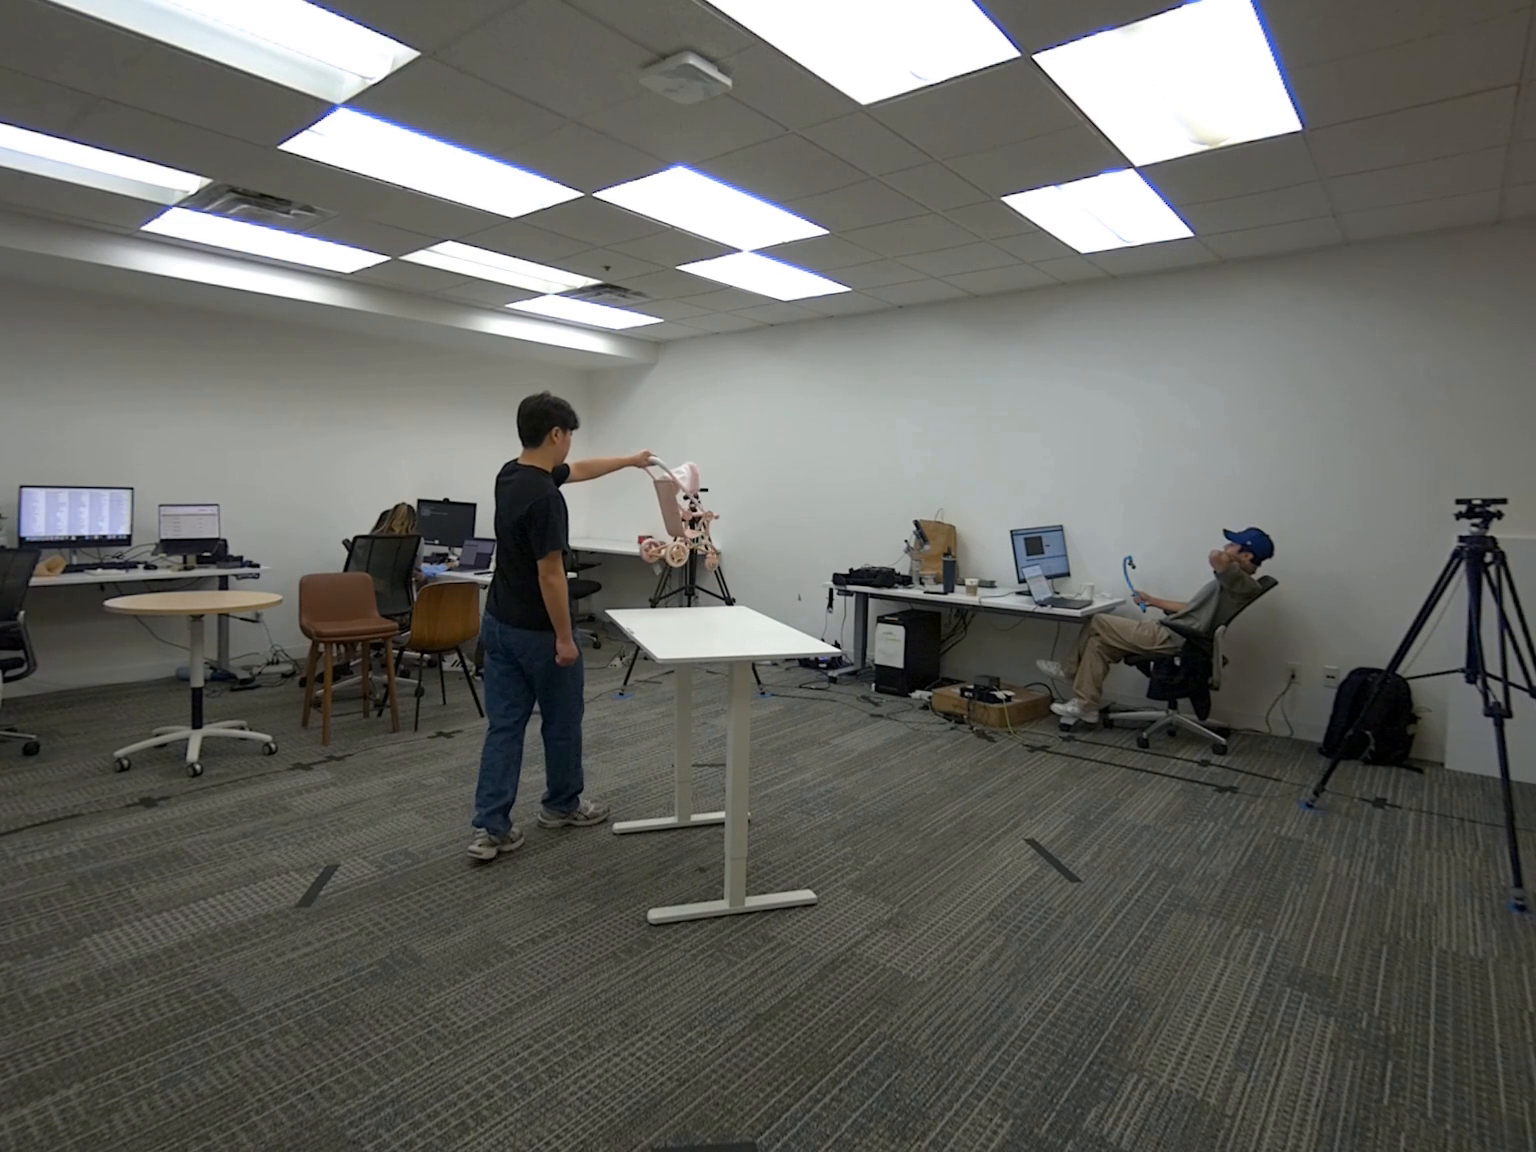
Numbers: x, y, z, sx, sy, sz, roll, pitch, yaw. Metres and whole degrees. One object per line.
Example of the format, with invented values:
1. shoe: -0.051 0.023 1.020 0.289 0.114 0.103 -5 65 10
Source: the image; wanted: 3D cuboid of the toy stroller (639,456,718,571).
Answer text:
1. toy stroller: -0.390 -0.273 3.783 0.333 0.532 0.289 -7 6 -28
